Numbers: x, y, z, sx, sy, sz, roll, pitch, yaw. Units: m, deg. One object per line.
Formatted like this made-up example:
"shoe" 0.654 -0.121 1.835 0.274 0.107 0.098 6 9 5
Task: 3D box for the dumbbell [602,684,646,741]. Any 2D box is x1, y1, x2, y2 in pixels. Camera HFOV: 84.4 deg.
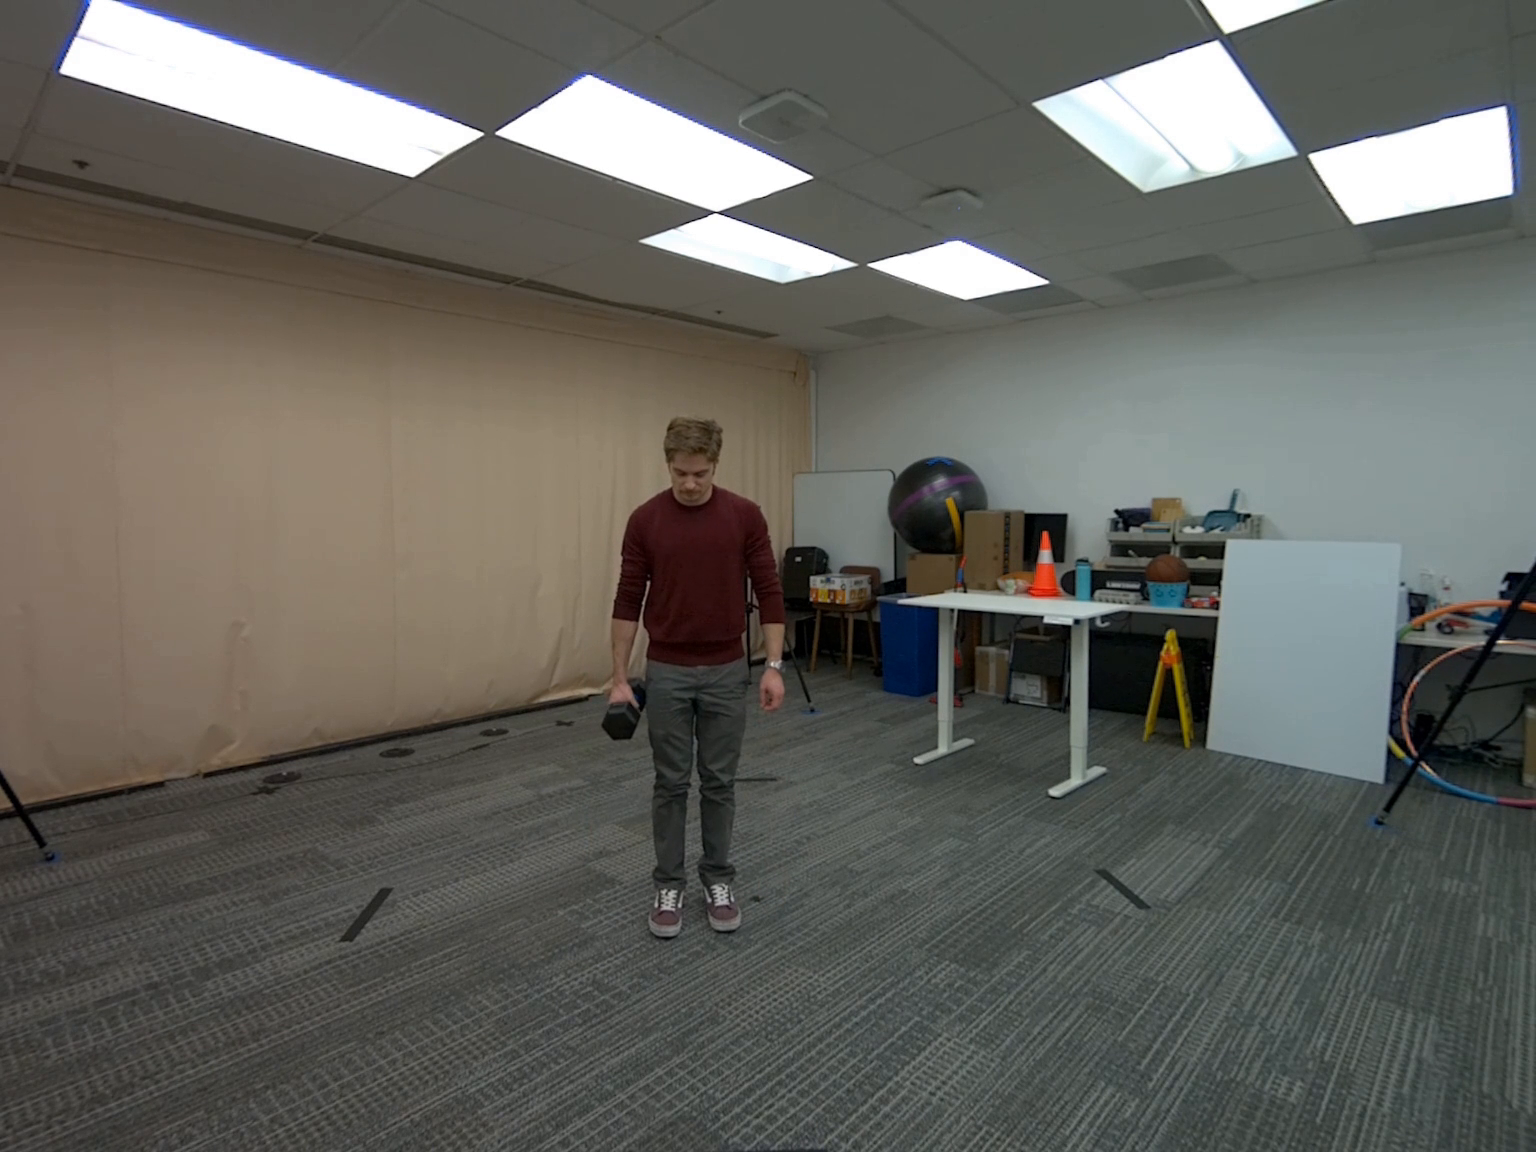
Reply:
"dumbbell" -0.480 0.440 2.835 0.109 0.123 0.294 24 12 -1
